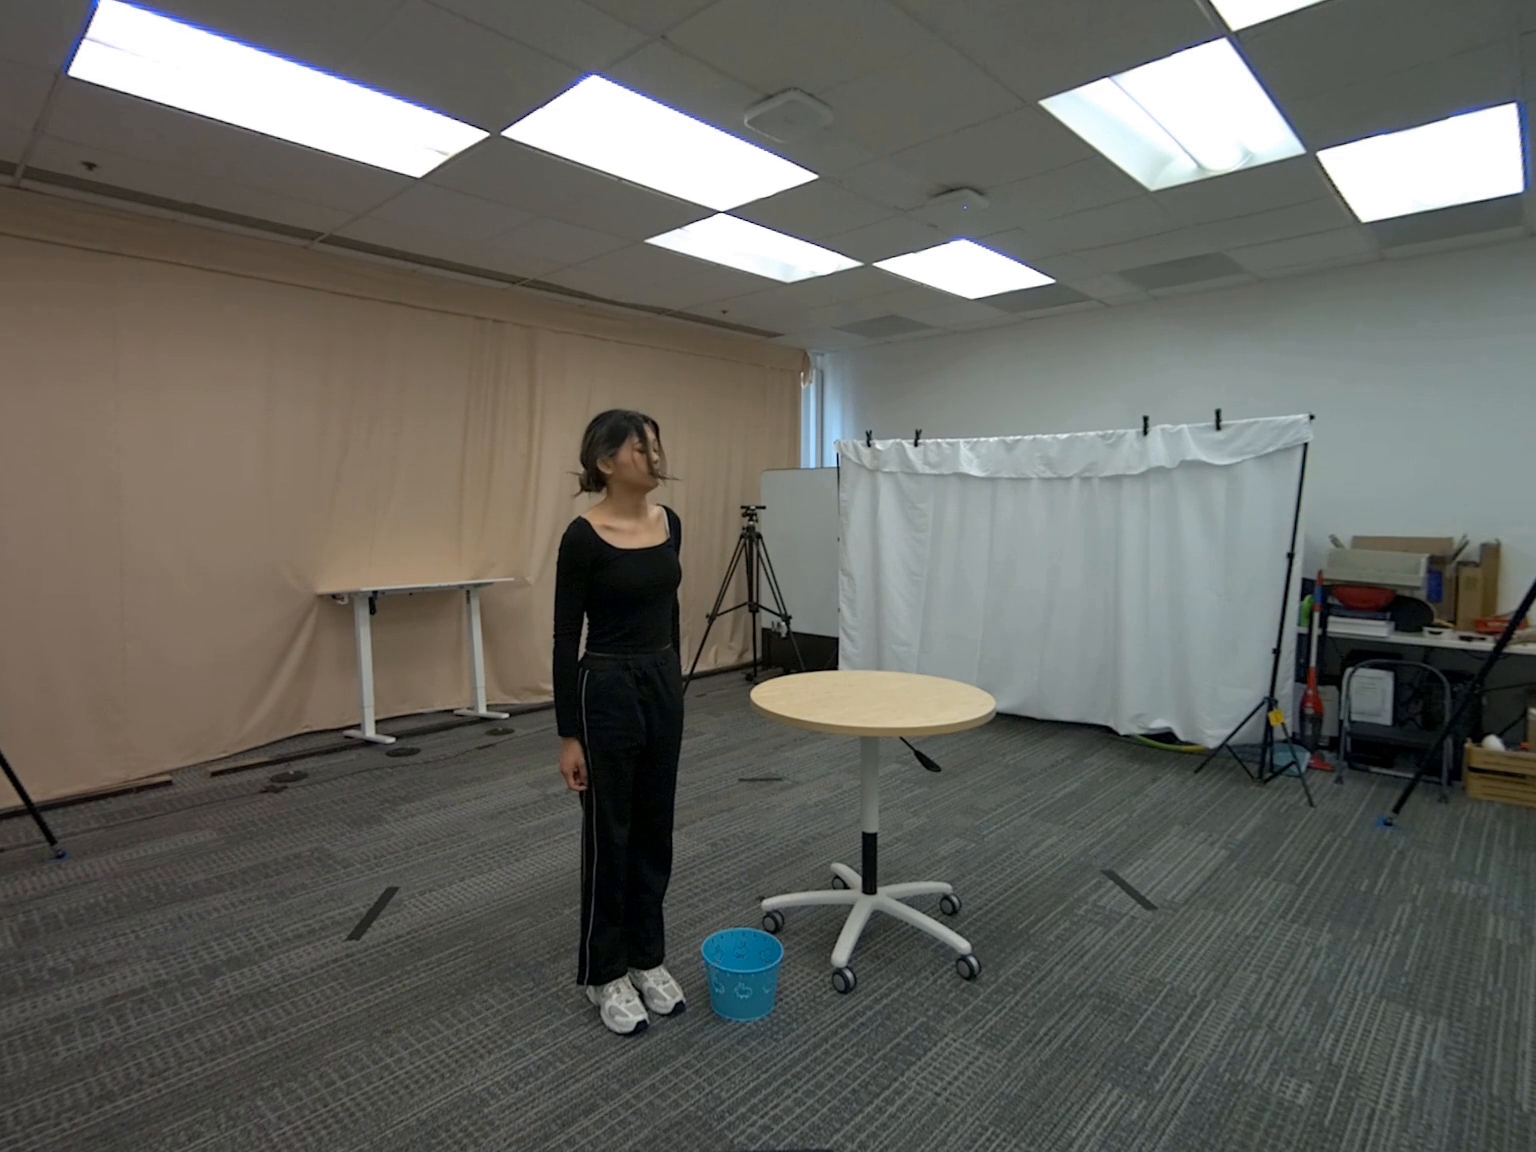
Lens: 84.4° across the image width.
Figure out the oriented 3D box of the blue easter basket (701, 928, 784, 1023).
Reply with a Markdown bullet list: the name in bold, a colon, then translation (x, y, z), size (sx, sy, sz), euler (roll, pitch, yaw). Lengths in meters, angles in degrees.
- **blue easter basket**: translation (-0.070, 1.125, 2.352), size (0.243, 0.155, 0.244), euler (0, 4, -2)
